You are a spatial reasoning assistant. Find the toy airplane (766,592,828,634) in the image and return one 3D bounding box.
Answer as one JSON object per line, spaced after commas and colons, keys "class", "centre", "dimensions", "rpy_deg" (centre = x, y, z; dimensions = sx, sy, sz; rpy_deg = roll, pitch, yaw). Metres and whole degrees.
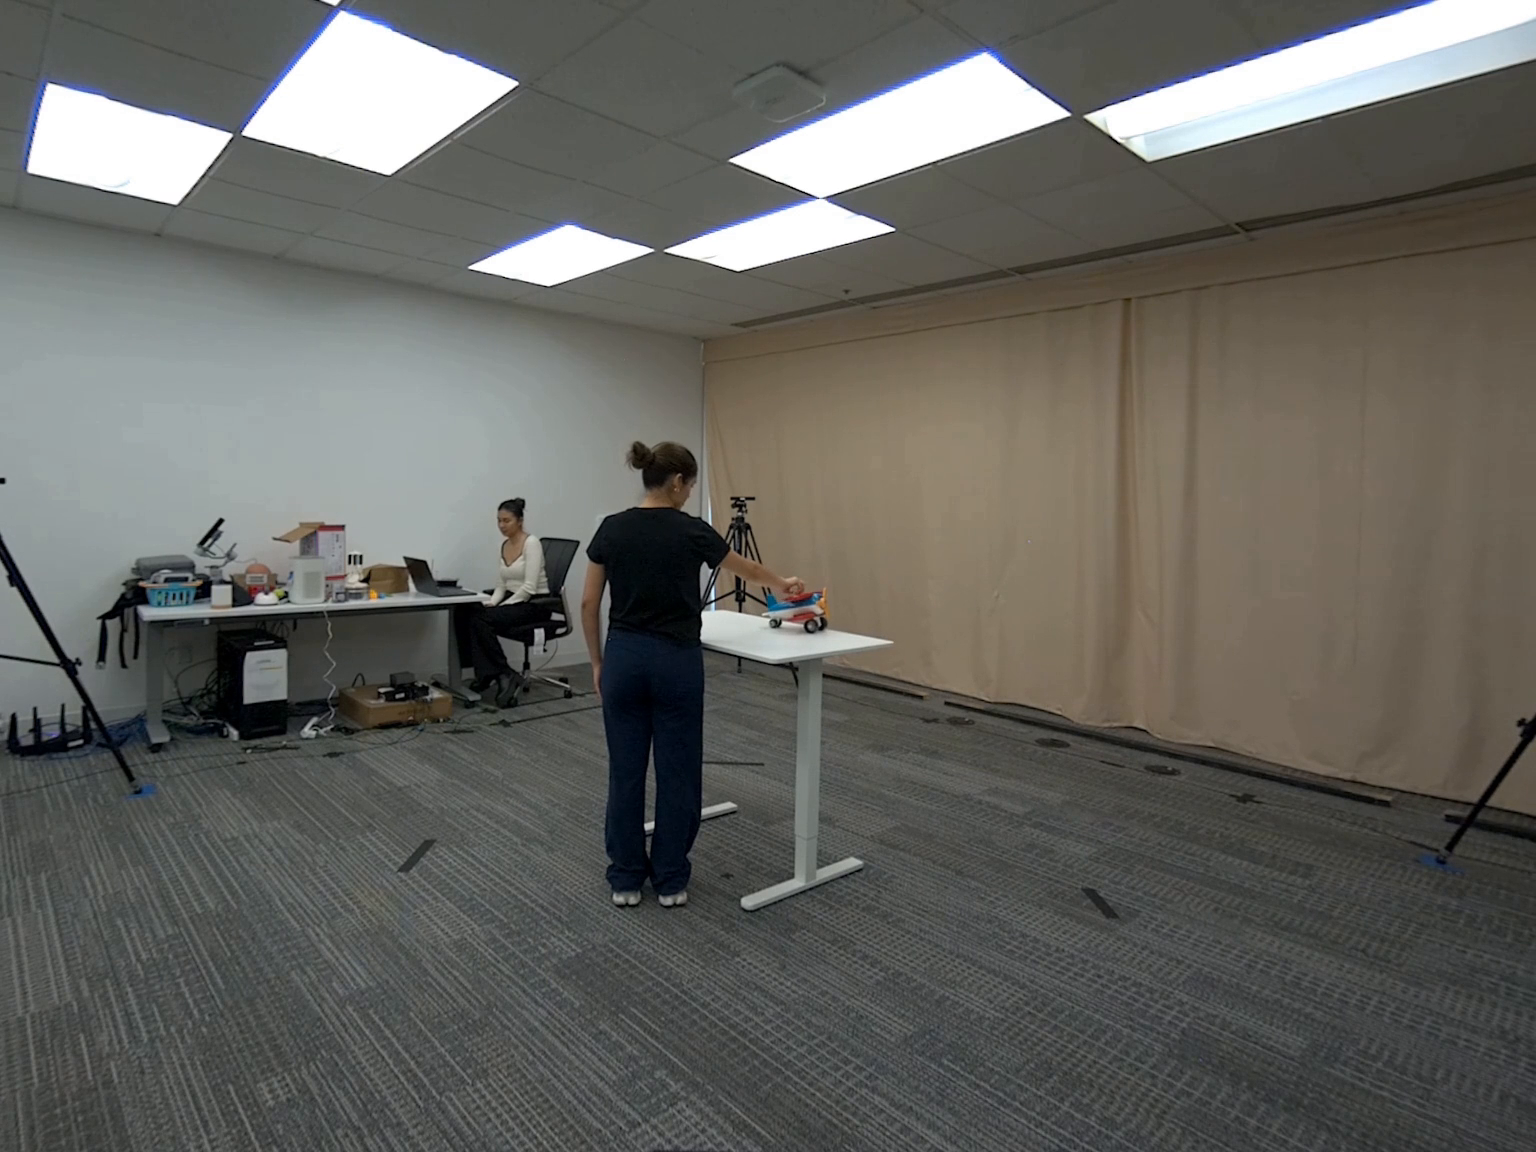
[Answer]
{"class": "toy airplane", "centre": [0.100, 0.139, 3.273], "dimensions": [0.259, 0.156, 0.252], "rpy_deg": [1, 5, -2]}
